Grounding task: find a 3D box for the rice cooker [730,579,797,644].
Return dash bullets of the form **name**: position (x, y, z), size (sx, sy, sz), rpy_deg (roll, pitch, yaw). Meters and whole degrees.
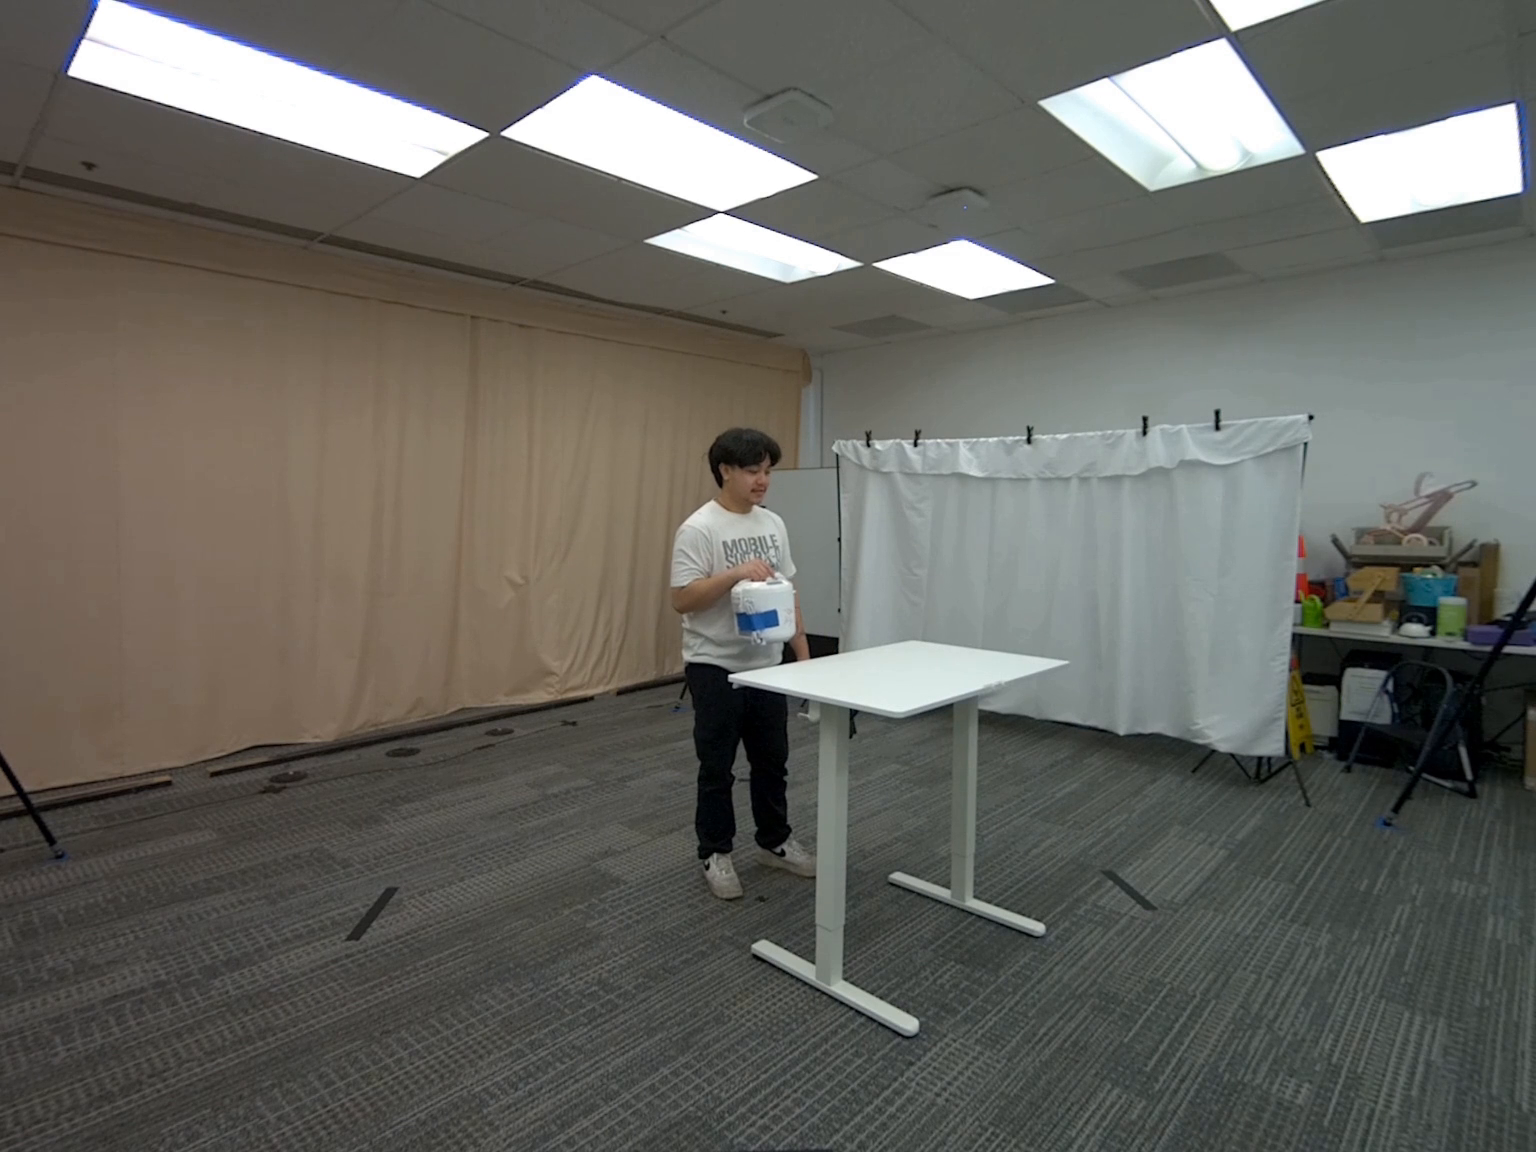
- **rice cooker**: position (-0.017, 0.102, 2.851), size (0.216, 0.232, 0.223), rpy_deg (-4, 5, -24)
